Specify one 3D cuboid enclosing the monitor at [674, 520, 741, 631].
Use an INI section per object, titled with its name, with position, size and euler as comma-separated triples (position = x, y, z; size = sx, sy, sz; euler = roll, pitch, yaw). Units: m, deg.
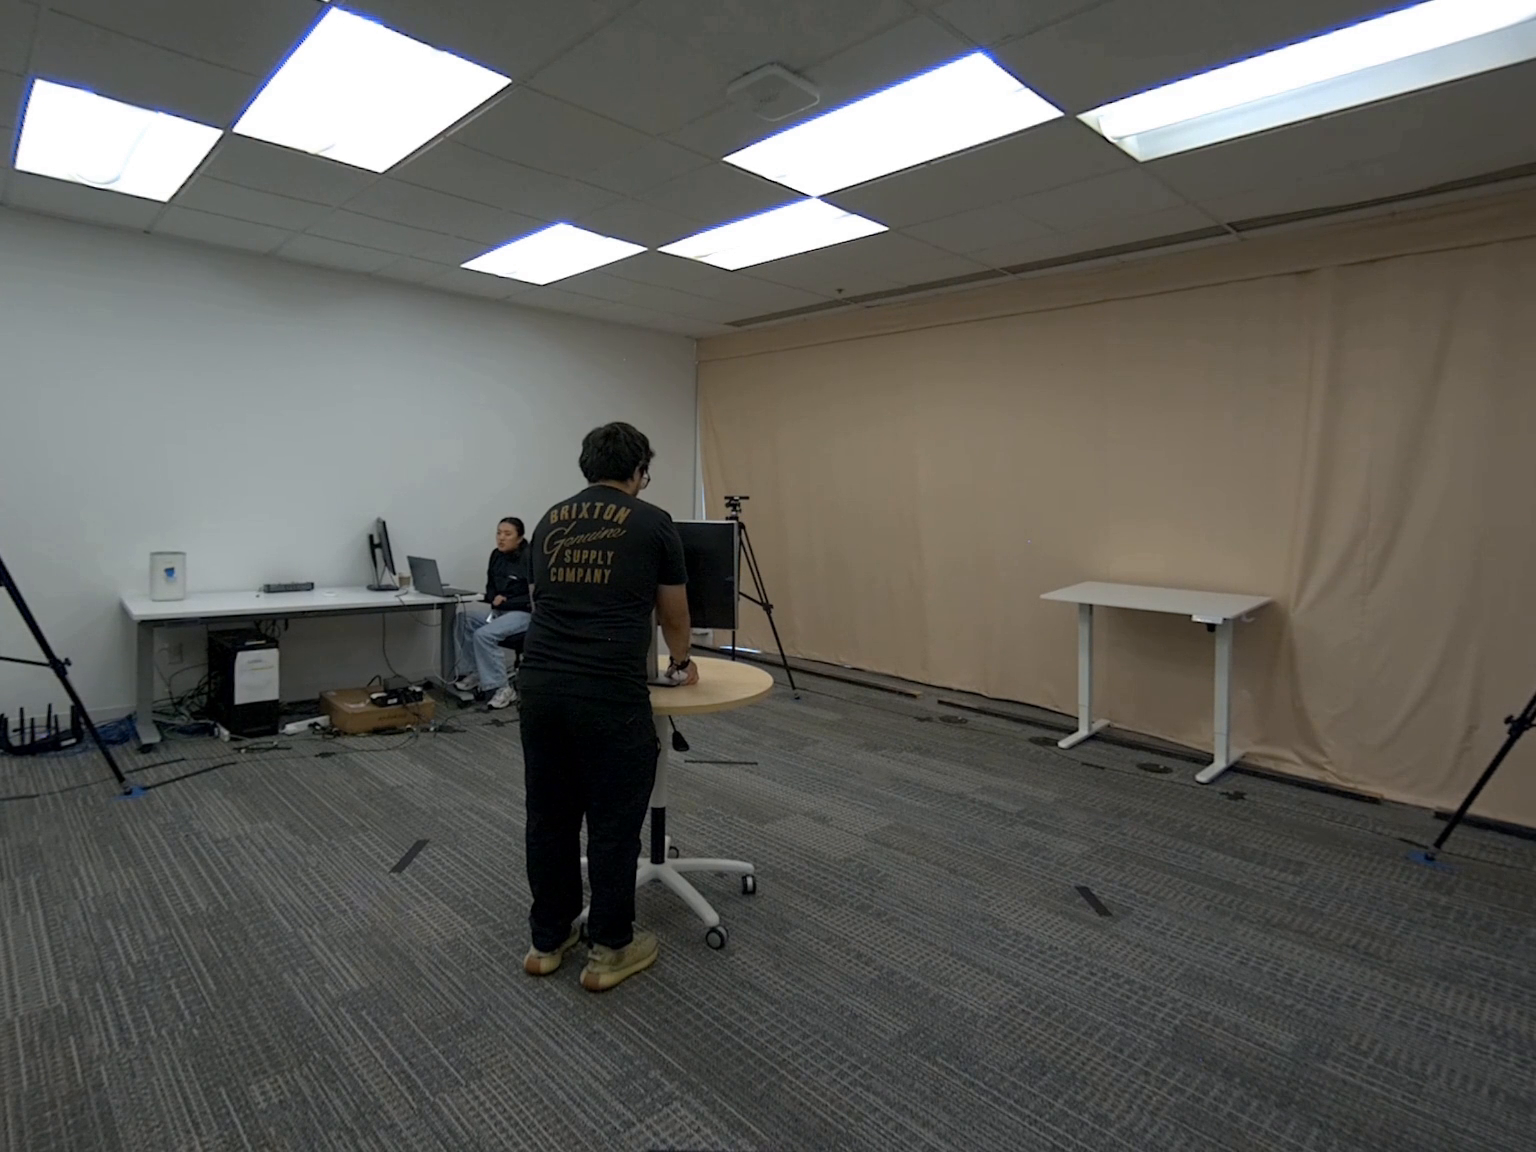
[monitor]
position = -0.393, 0.088, 2.785
size = 0.574, 0.552, 0.208
euler = 3, 6, 19
